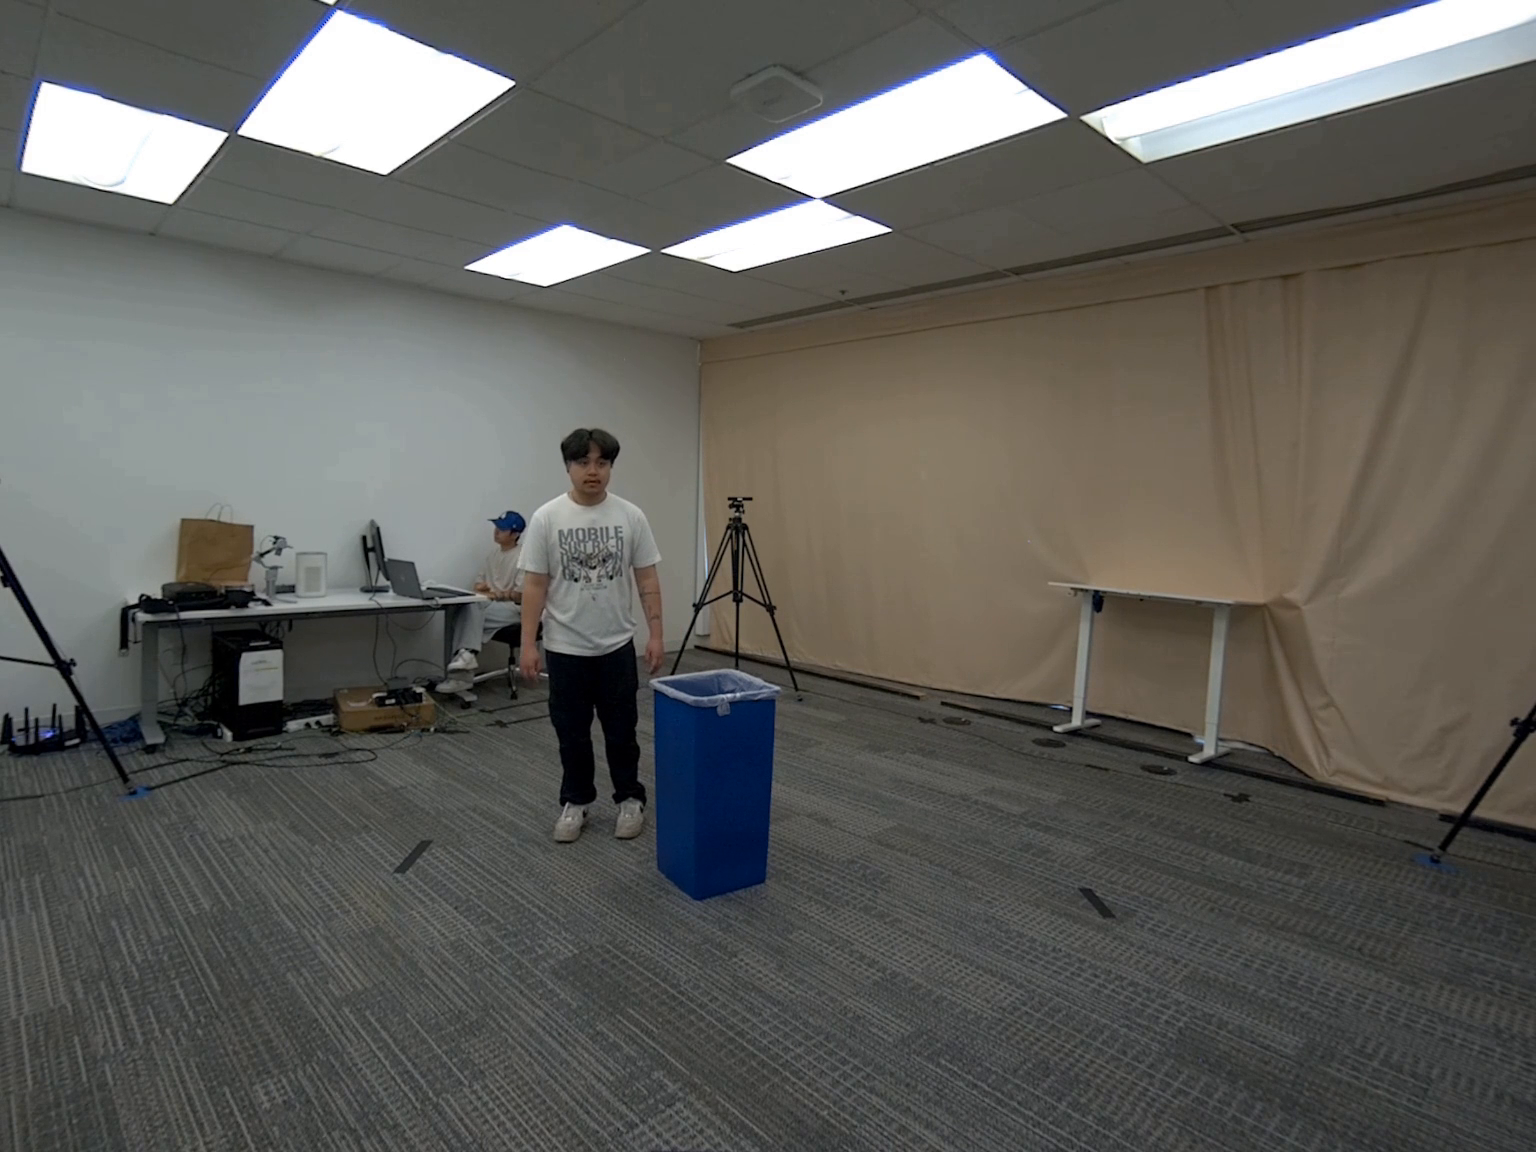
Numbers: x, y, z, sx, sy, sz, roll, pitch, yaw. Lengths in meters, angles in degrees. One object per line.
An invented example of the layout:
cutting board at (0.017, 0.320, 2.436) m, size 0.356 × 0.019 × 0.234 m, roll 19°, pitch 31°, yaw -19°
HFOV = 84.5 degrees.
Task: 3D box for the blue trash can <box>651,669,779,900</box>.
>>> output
blue trash can at (-0.215, 0.749, 3.094) m, size 0.370 × 0.712 × 0.383 m, roll -1°, pitch 4°, yaw -34°
